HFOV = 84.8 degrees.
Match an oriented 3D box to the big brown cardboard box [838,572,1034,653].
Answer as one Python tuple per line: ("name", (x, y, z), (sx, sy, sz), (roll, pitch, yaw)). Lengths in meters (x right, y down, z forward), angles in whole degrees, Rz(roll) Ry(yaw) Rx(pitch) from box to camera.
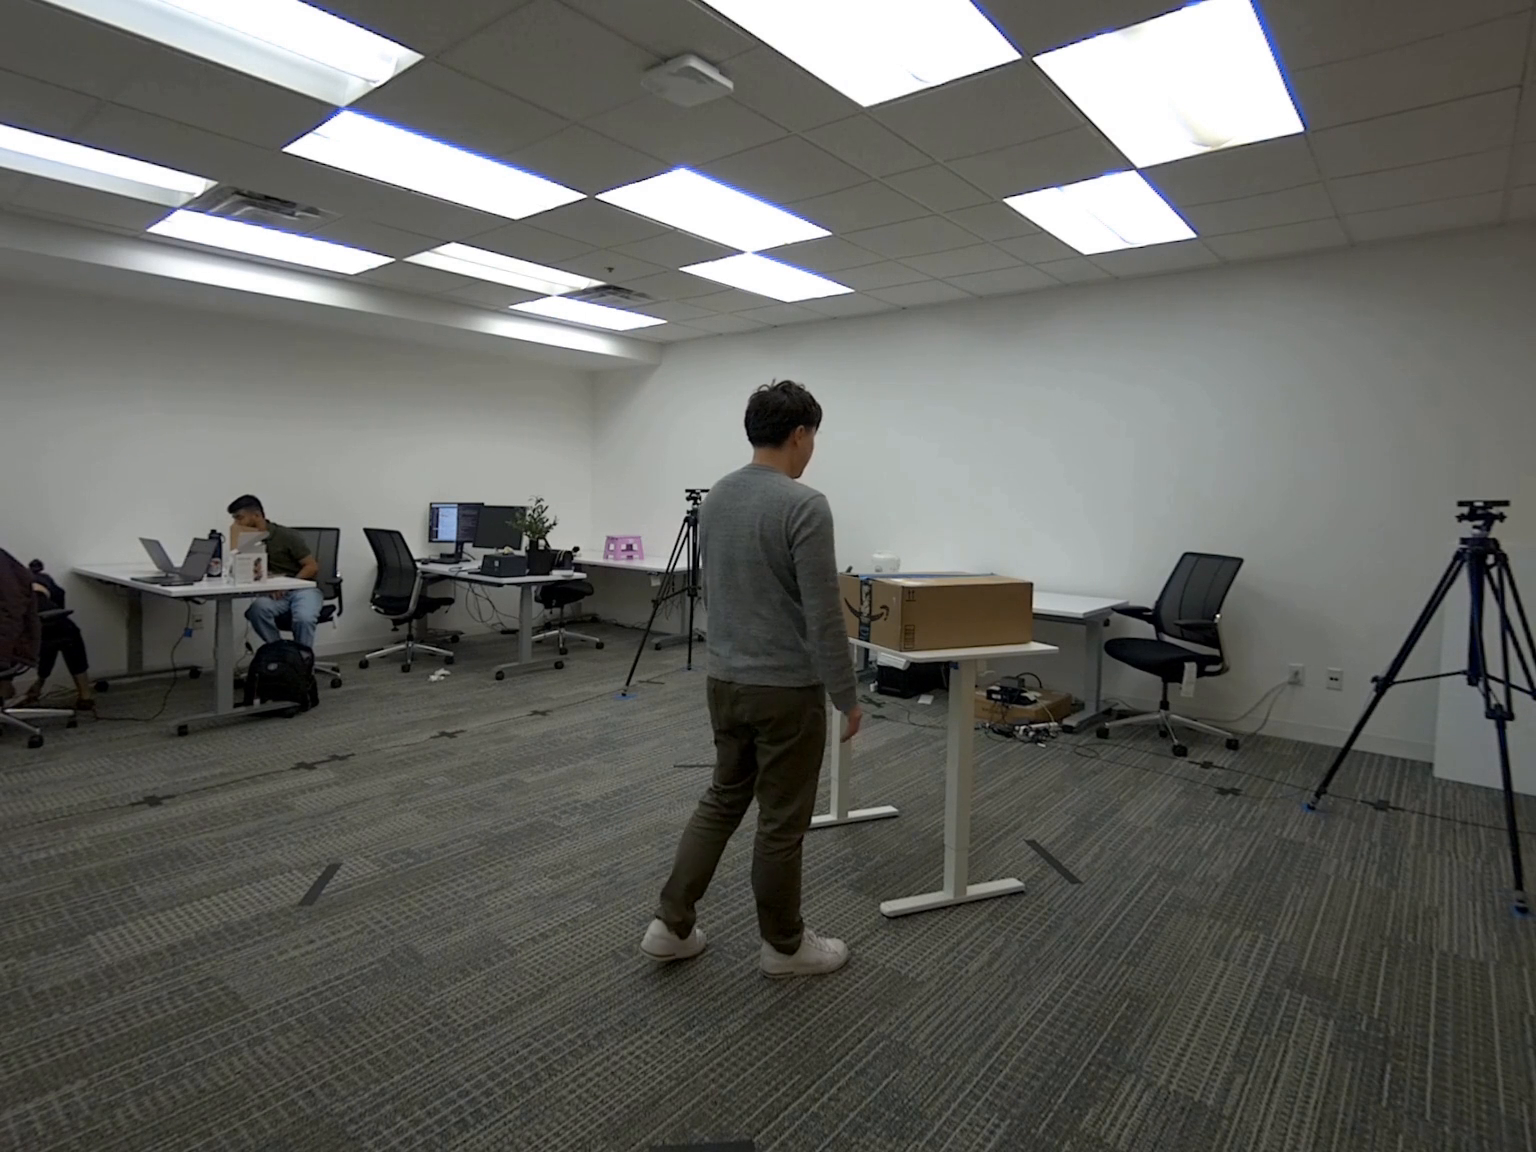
("big brown cardboard box", (0.569, 0.108, 3.029), (0.574, 0.232, 0.430), (0, 5, -27))
